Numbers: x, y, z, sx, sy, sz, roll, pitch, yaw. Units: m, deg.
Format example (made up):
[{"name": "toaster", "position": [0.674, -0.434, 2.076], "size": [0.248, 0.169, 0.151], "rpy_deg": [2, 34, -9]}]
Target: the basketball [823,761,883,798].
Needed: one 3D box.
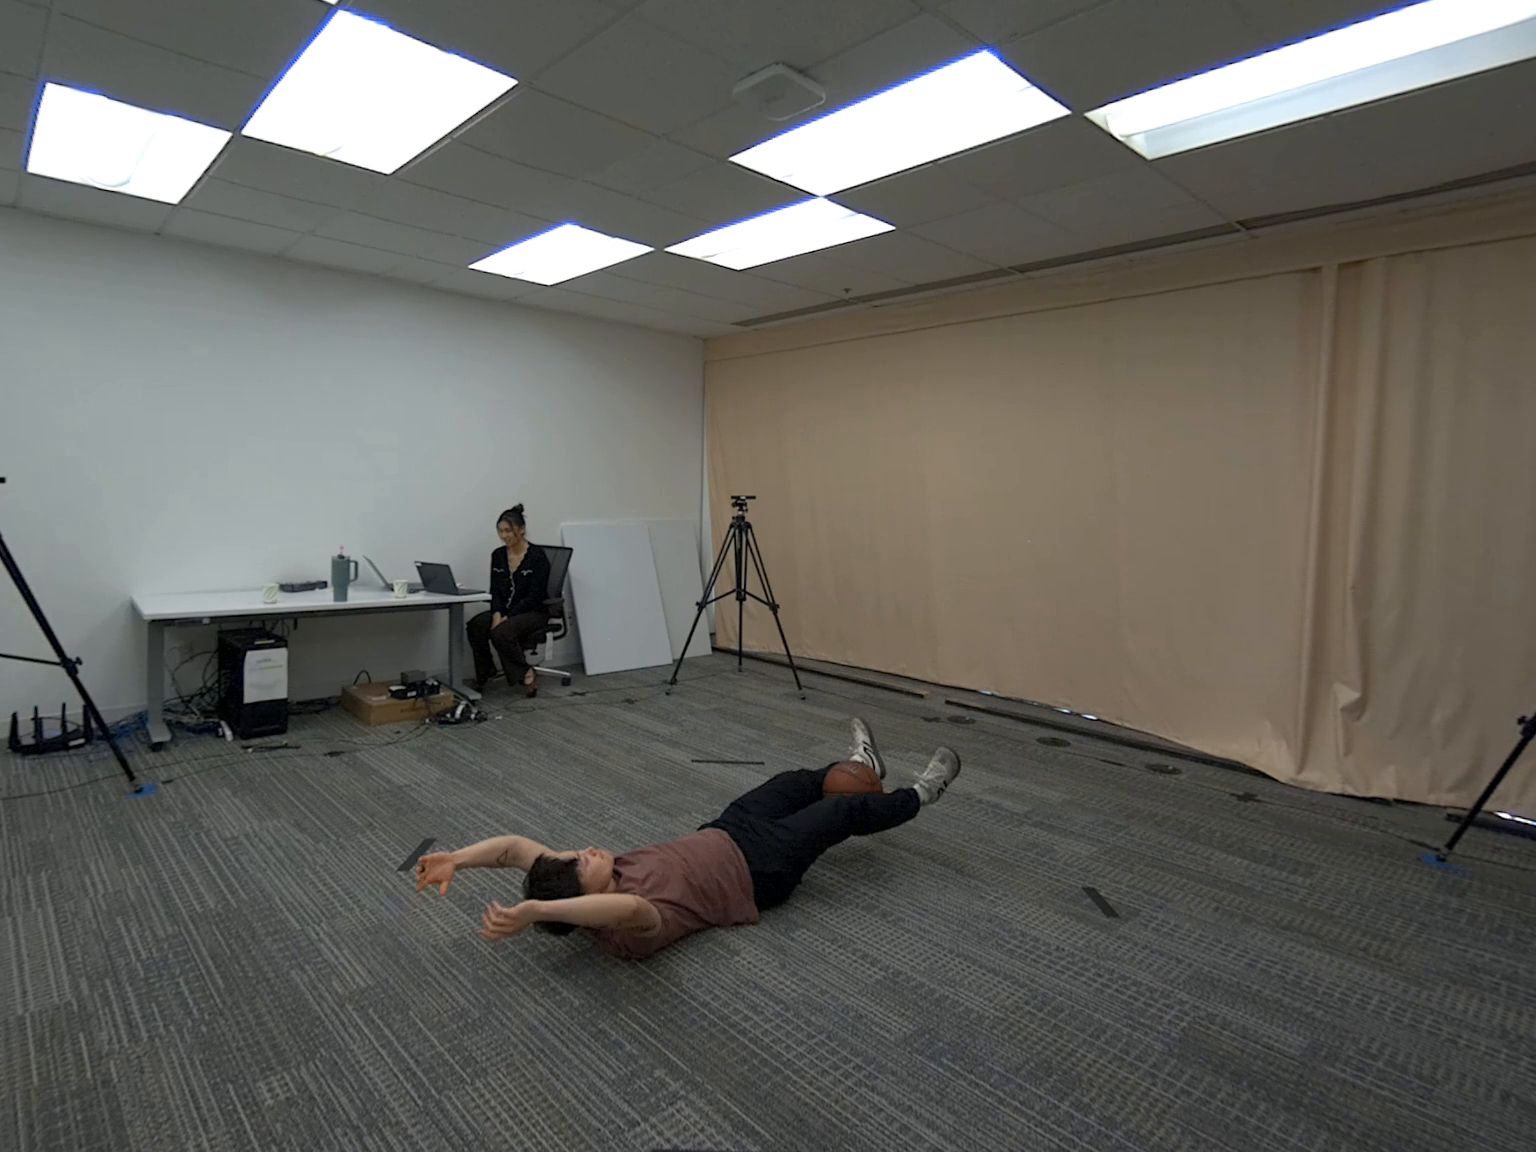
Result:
[{"name": "basketball", "position": [0.325, 0.839, 3.291], "size": [0.236, 0.235, 0.237], "rpy_deg": [2, 4, -2]}]
